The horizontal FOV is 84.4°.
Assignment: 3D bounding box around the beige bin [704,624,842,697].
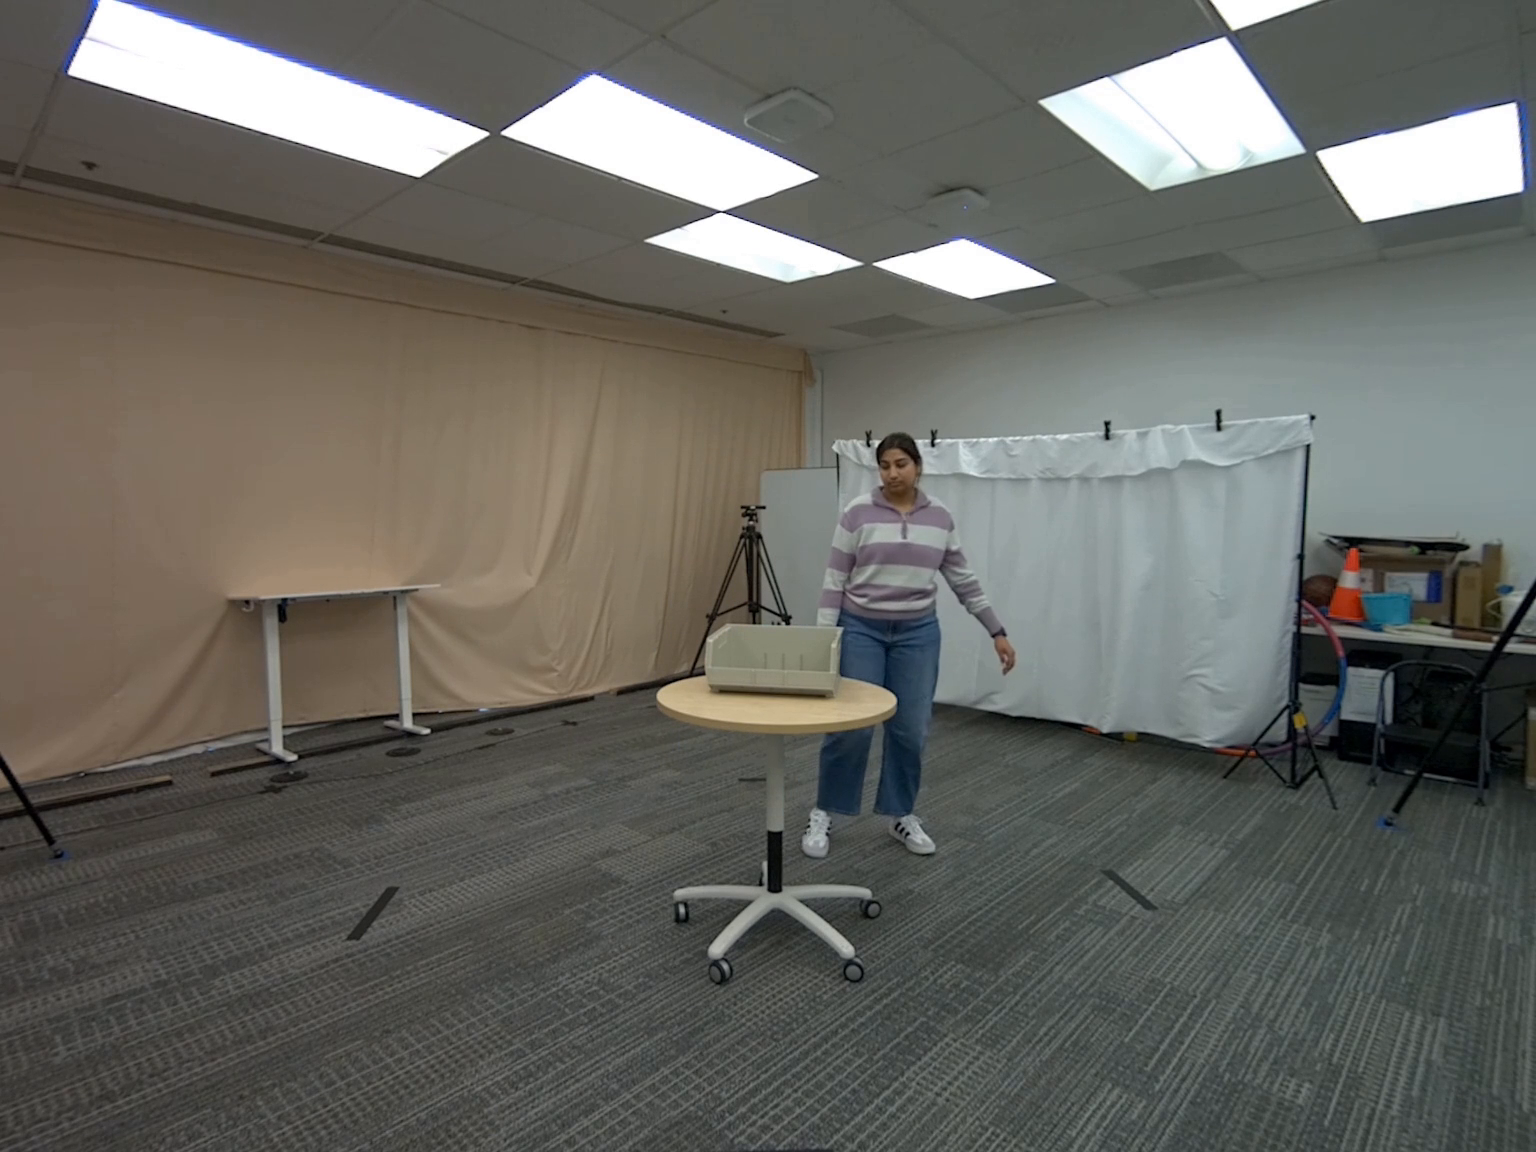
[{"bbox_3d":[0.038,0.286,2.817,0.428,0.189,0.373,1,3,11],"label":"beige bin"}]
